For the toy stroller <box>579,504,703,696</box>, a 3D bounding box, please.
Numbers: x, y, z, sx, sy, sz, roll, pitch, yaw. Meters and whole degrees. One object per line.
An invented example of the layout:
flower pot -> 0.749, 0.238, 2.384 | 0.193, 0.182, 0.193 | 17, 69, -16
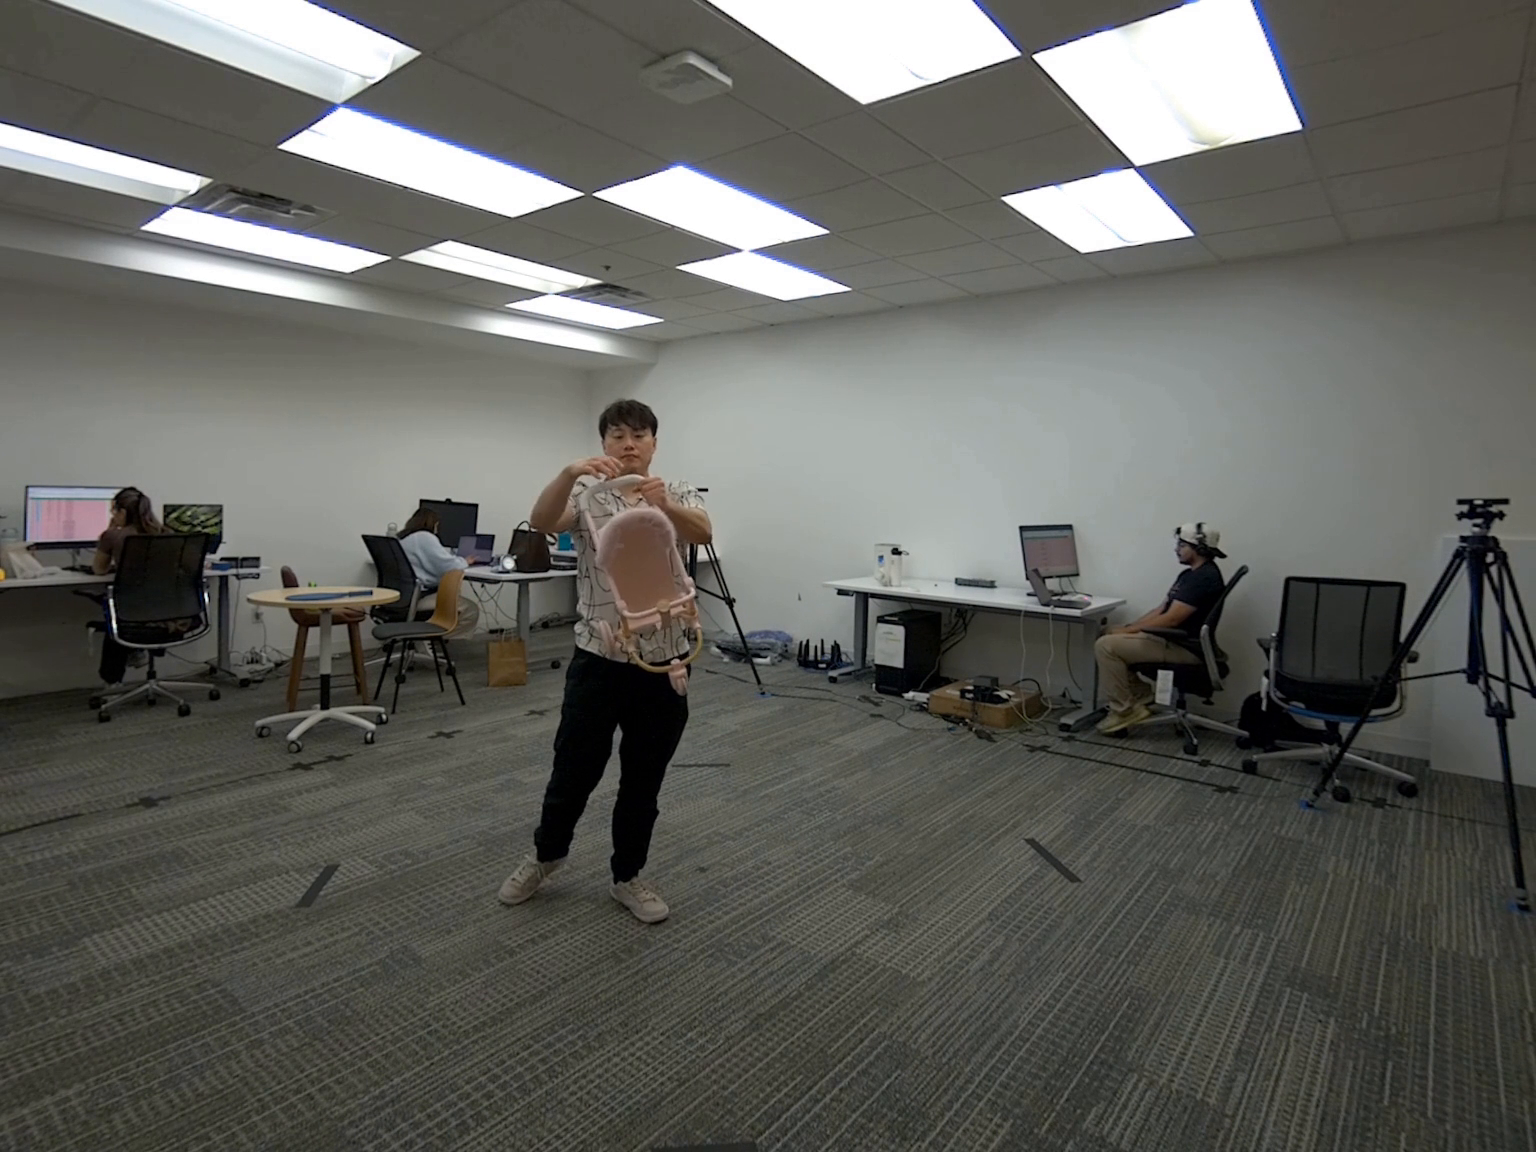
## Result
toy stroller -> -0.345, 0.030, 2.275 | 0.278, 0.523, 0.353 | -15, 22, -15
